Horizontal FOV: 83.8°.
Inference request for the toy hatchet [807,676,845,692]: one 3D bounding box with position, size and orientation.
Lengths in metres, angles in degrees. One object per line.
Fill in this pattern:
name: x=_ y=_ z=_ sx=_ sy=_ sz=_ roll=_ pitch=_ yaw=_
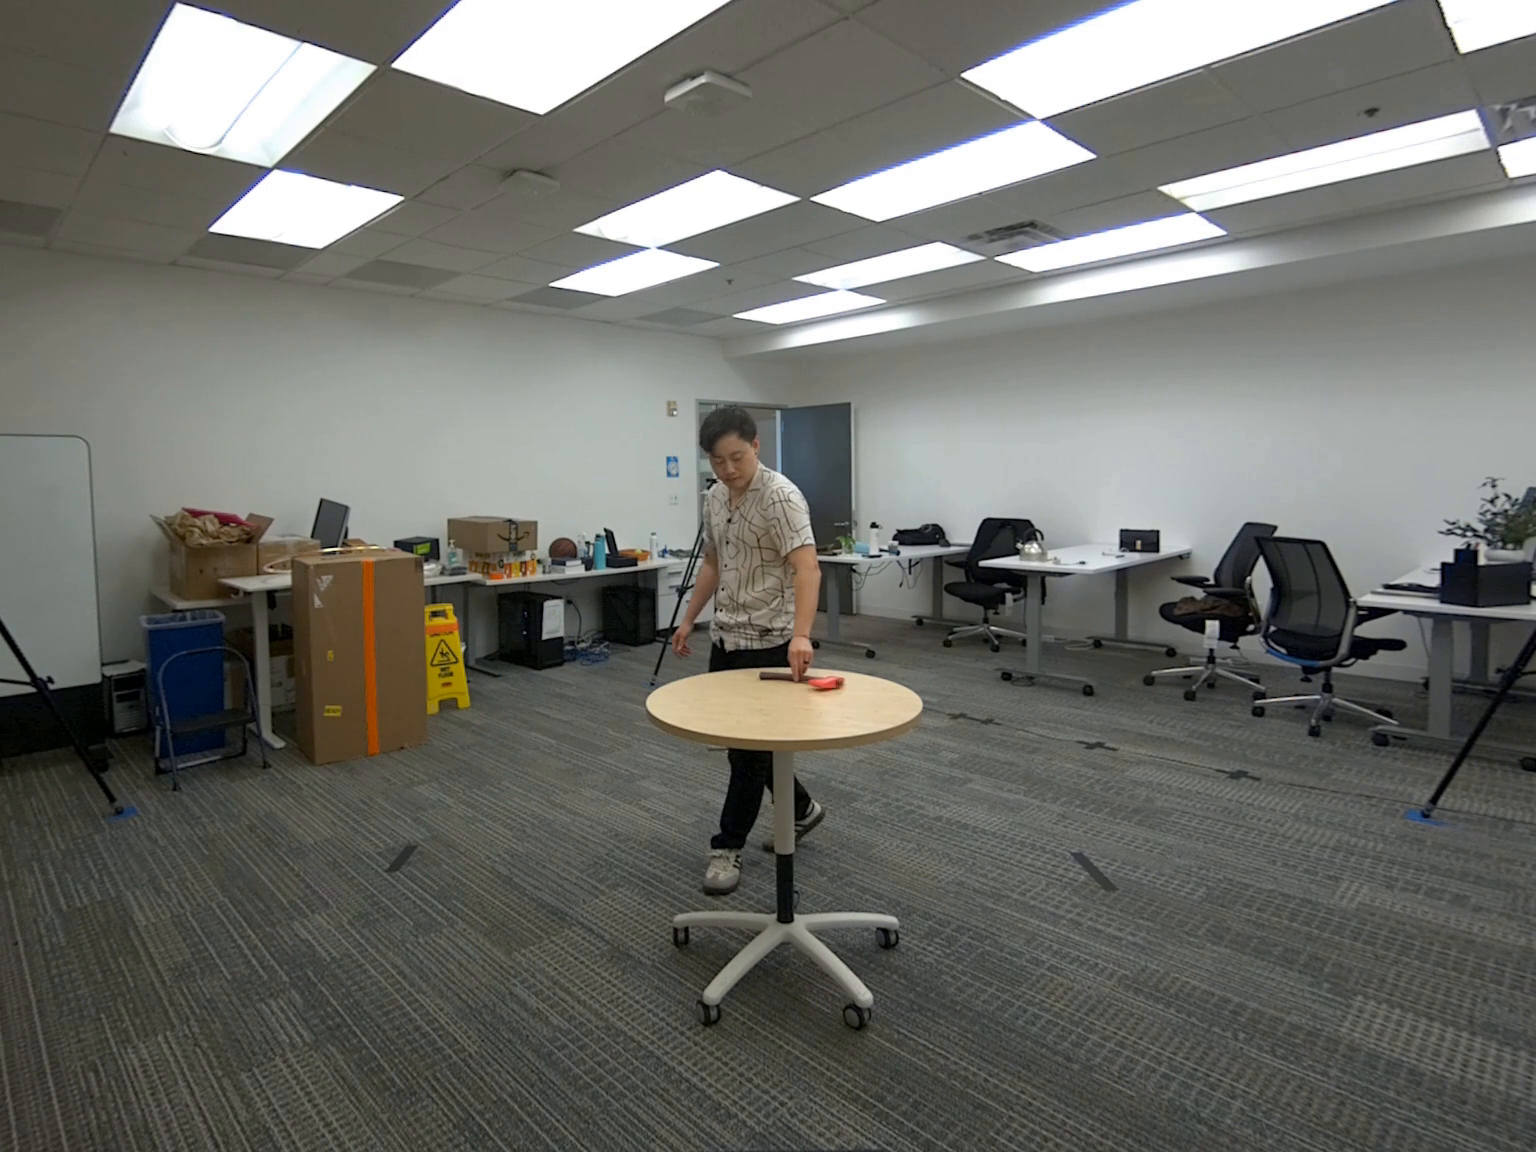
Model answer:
toy hatchet: x=0.094 y=0.316 z=2.540 sx=0.275 sy=0.029 sz=0.129 roll=0 pitch=3 yaw=21
